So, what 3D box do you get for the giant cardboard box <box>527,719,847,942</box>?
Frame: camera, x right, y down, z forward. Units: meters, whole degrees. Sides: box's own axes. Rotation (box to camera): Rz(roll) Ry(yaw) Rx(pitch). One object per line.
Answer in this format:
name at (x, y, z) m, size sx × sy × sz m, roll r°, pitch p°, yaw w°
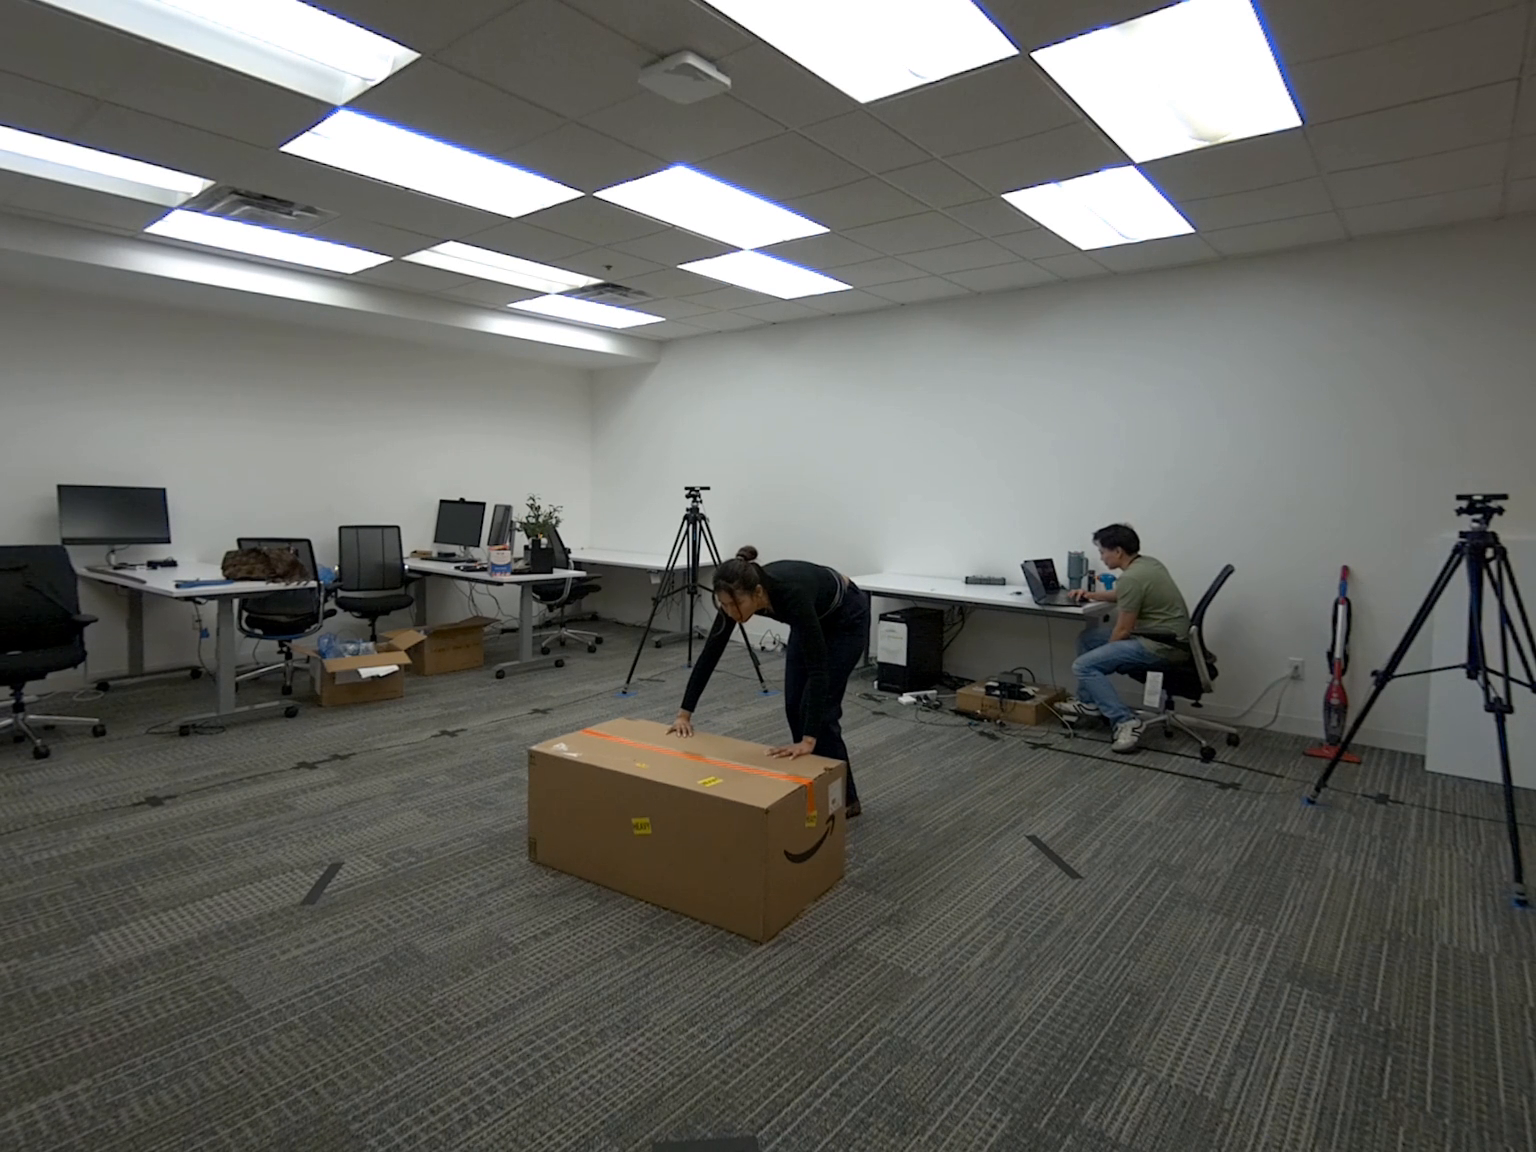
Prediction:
giant cardboard box at (-0.316, 0.852, 3.093) m, size 1.057 × 0.425 × 0.562 m, roll 4°, pitch 5°, yaw 32°
